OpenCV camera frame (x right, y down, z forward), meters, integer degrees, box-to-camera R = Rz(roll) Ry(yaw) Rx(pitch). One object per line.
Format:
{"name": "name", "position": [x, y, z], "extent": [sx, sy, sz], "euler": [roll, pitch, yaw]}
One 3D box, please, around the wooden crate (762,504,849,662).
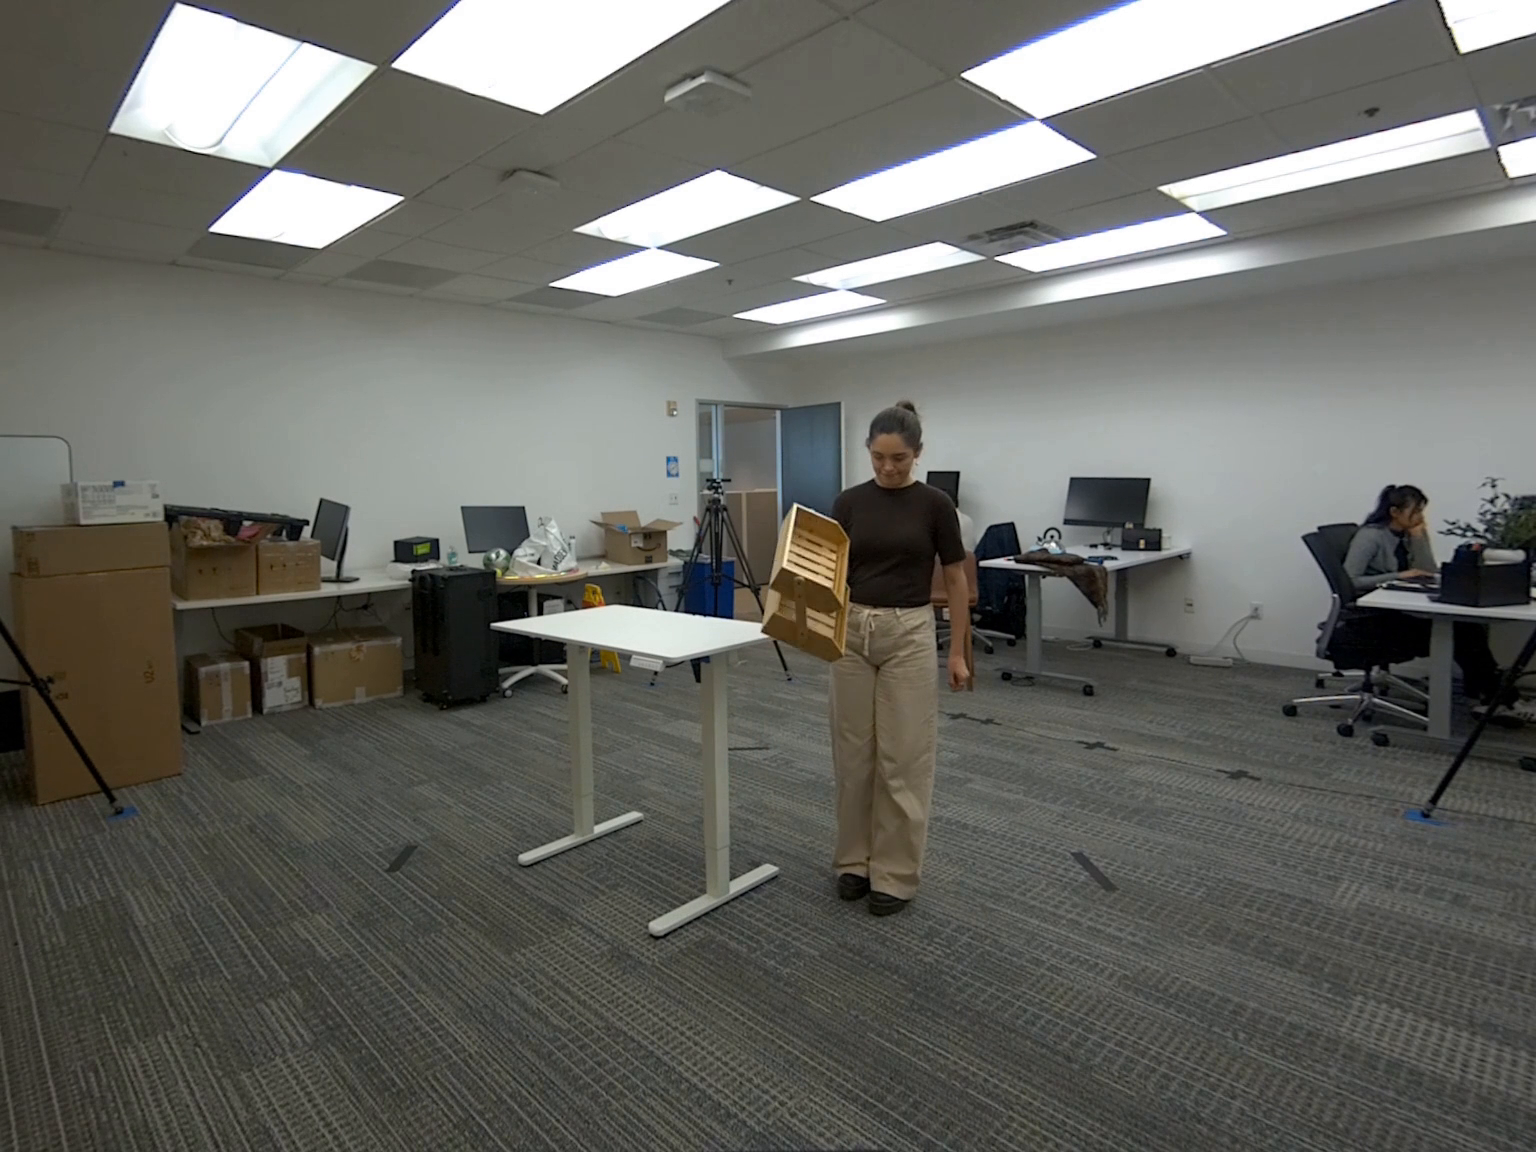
{"name": "wooden crate", "position": [0.155, 0.026, 2.528], "extent": [0.299, 0.271, 0.331], "euler": [23, 39, -9]}
